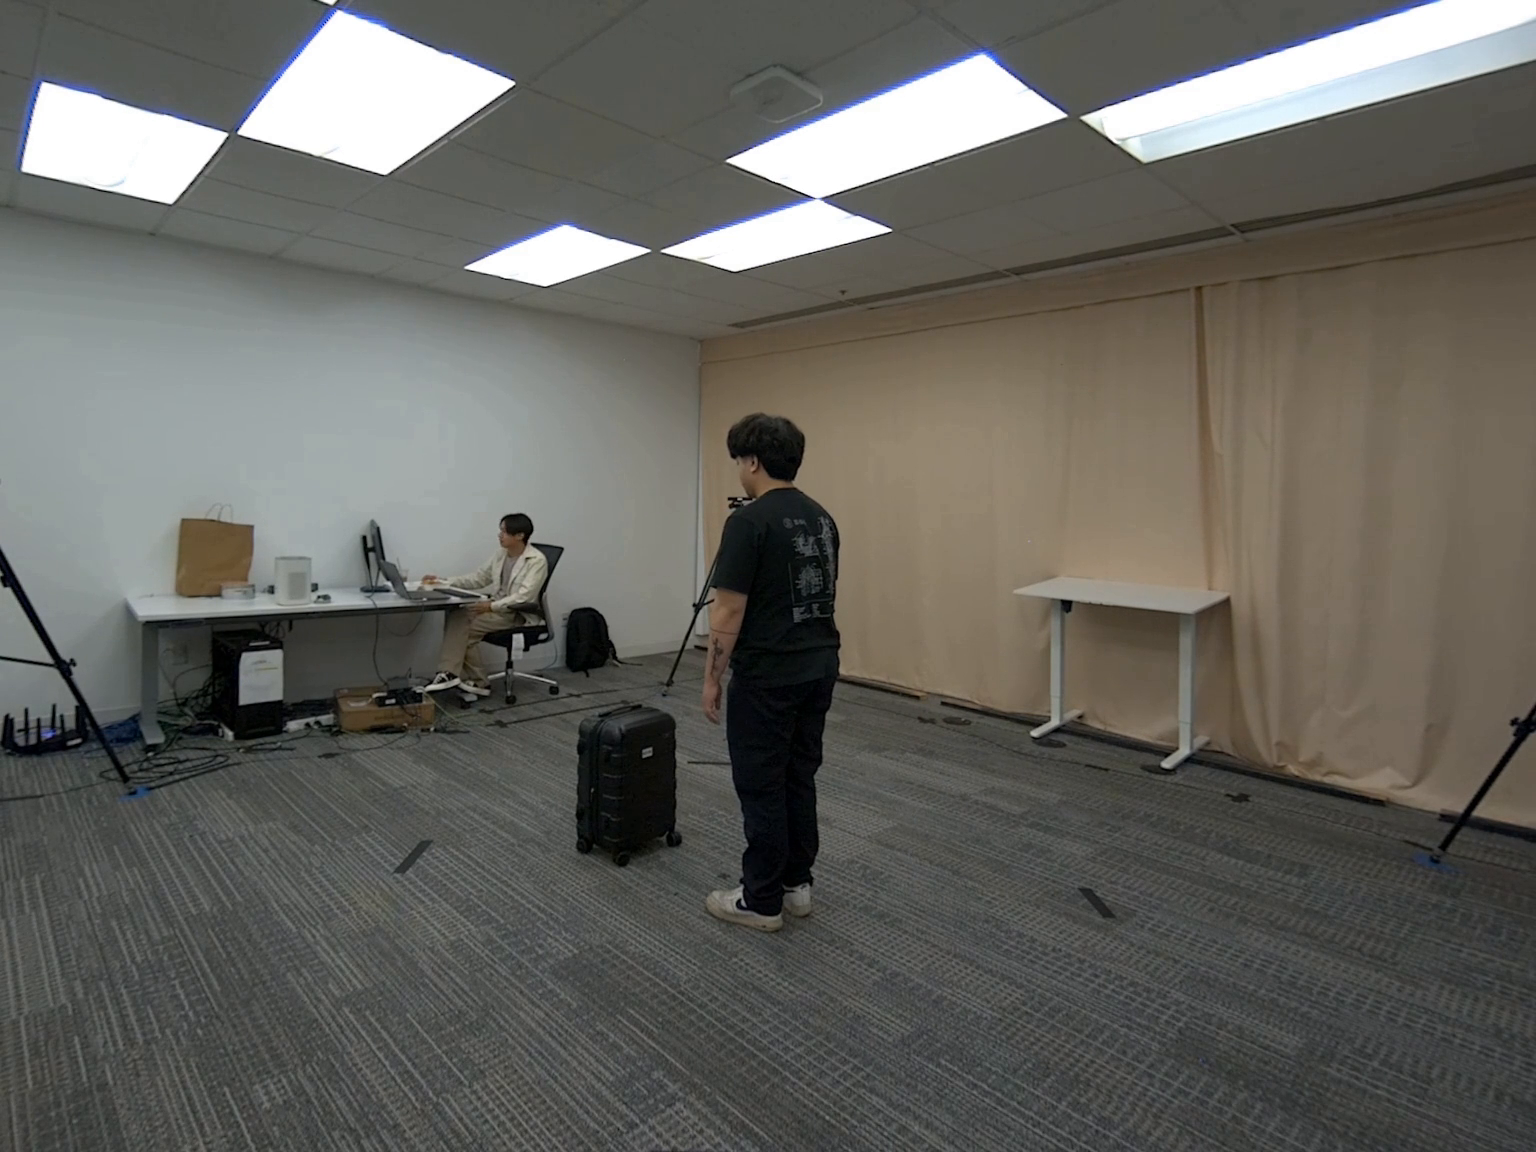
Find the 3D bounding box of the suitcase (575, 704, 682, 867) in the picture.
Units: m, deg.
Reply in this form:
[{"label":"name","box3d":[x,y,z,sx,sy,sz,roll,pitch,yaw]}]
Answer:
[{"label":"suitcase","box3d":[-0.561,0.801,3.331,0.254,0.548,0.367,3,4,39]}]
